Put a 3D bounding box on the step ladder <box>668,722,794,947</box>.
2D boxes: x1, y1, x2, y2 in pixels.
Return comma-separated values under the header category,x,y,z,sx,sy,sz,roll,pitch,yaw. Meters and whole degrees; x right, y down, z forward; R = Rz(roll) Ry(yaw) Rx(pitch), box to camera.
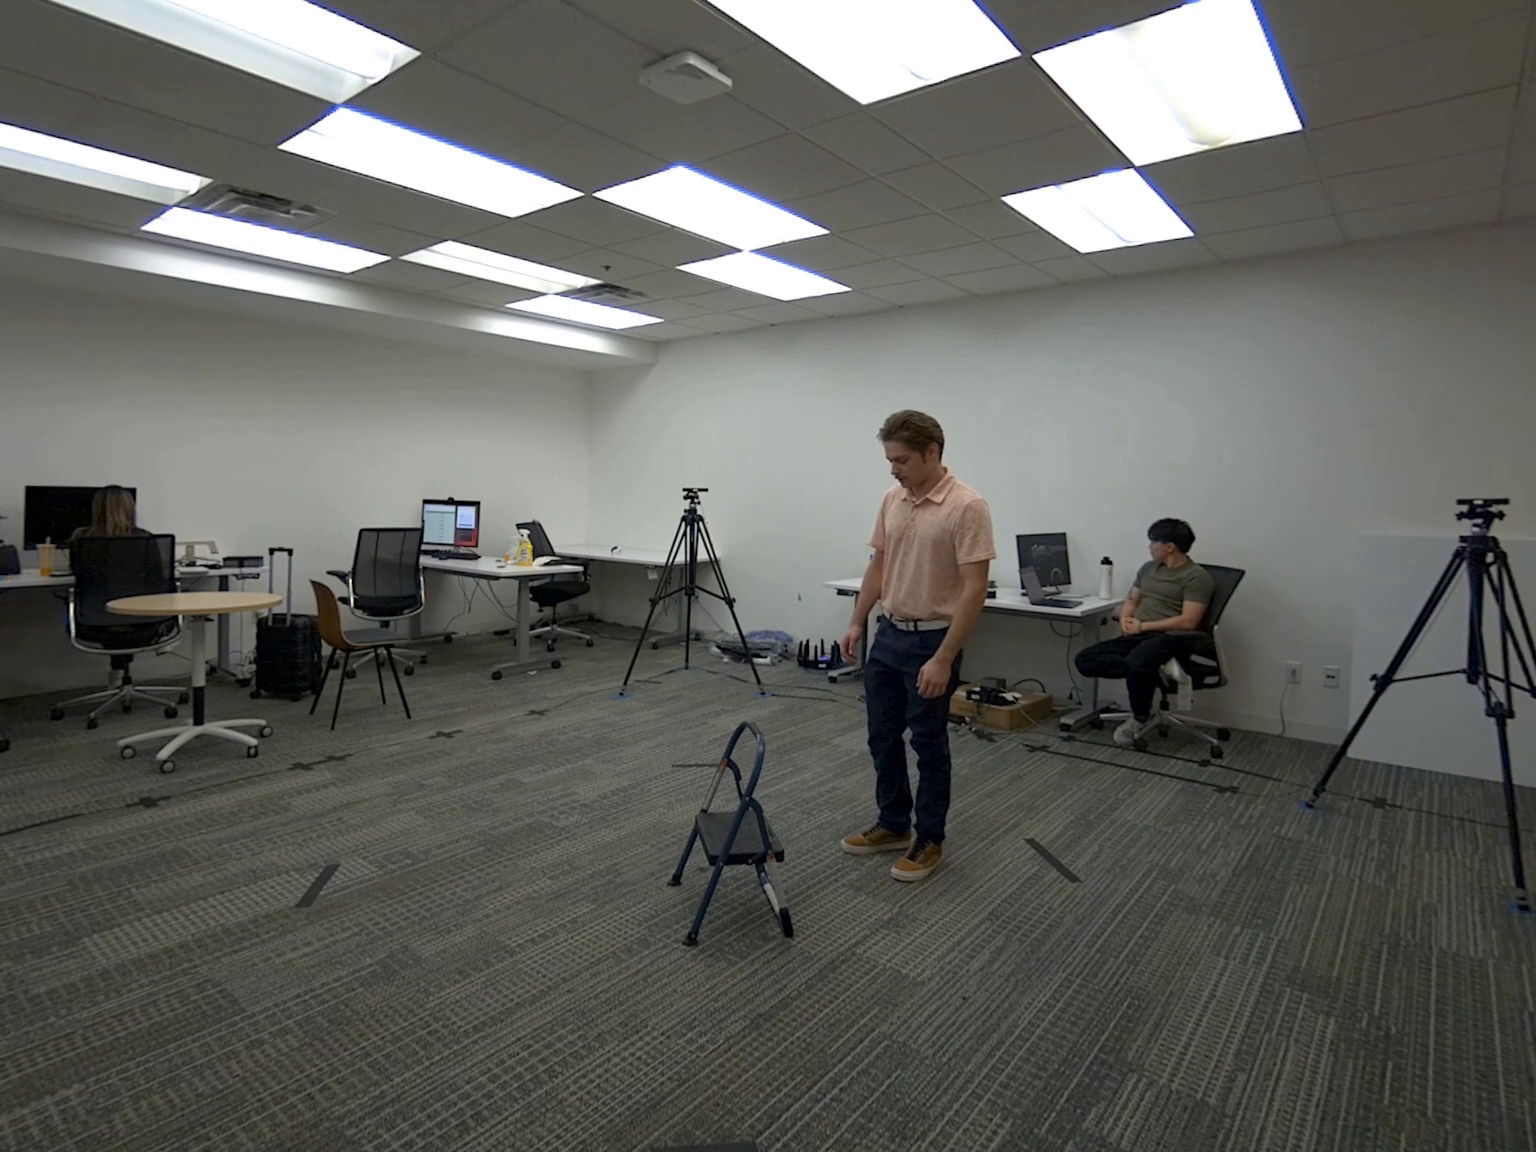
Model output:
category,x,y,z,sx,sy,sz,roll,pitch,yaw
step ladder,-0.128,0.800,2.800,0.345,0.604,0.438,0,4,-13
